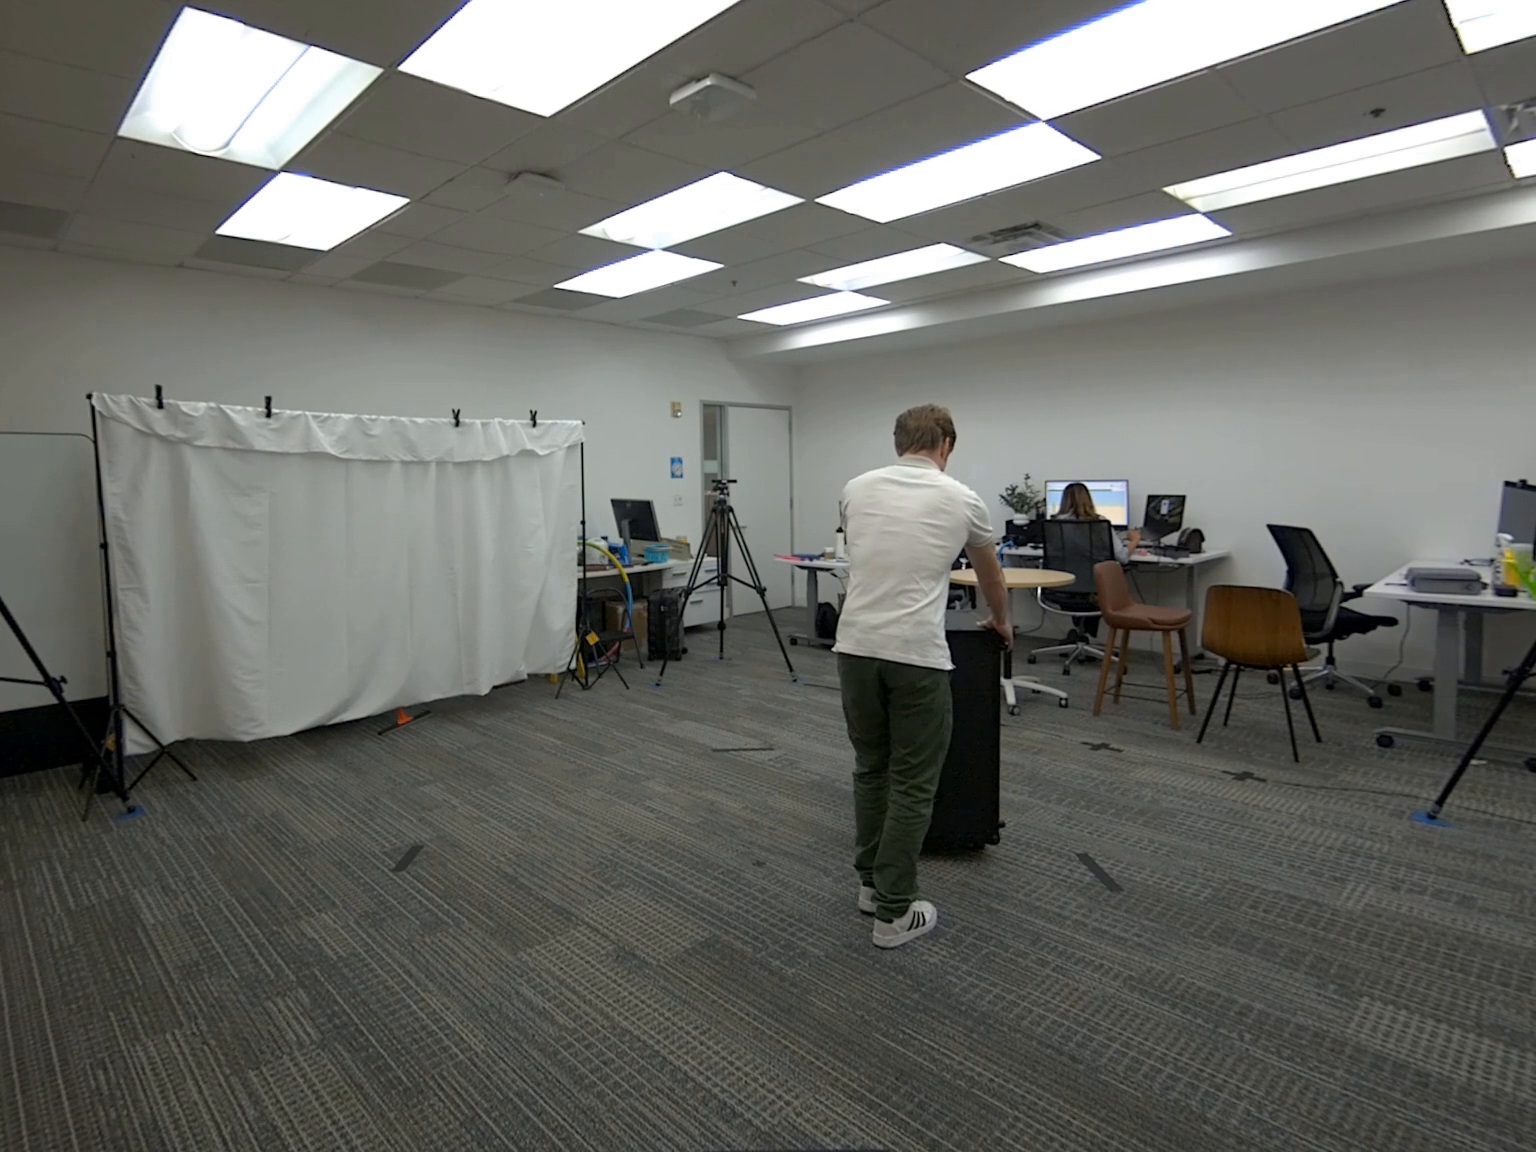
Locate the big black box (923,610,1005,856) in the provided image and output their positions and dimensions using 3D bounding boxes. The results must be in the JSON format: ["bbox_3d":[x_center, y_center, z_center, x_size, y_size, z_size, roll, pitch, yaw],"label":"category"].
[{"bbox_3d":[0.661,0.591,3.306,0.386,0.865,0.524,0,5,1],"label":"big black box"}]
